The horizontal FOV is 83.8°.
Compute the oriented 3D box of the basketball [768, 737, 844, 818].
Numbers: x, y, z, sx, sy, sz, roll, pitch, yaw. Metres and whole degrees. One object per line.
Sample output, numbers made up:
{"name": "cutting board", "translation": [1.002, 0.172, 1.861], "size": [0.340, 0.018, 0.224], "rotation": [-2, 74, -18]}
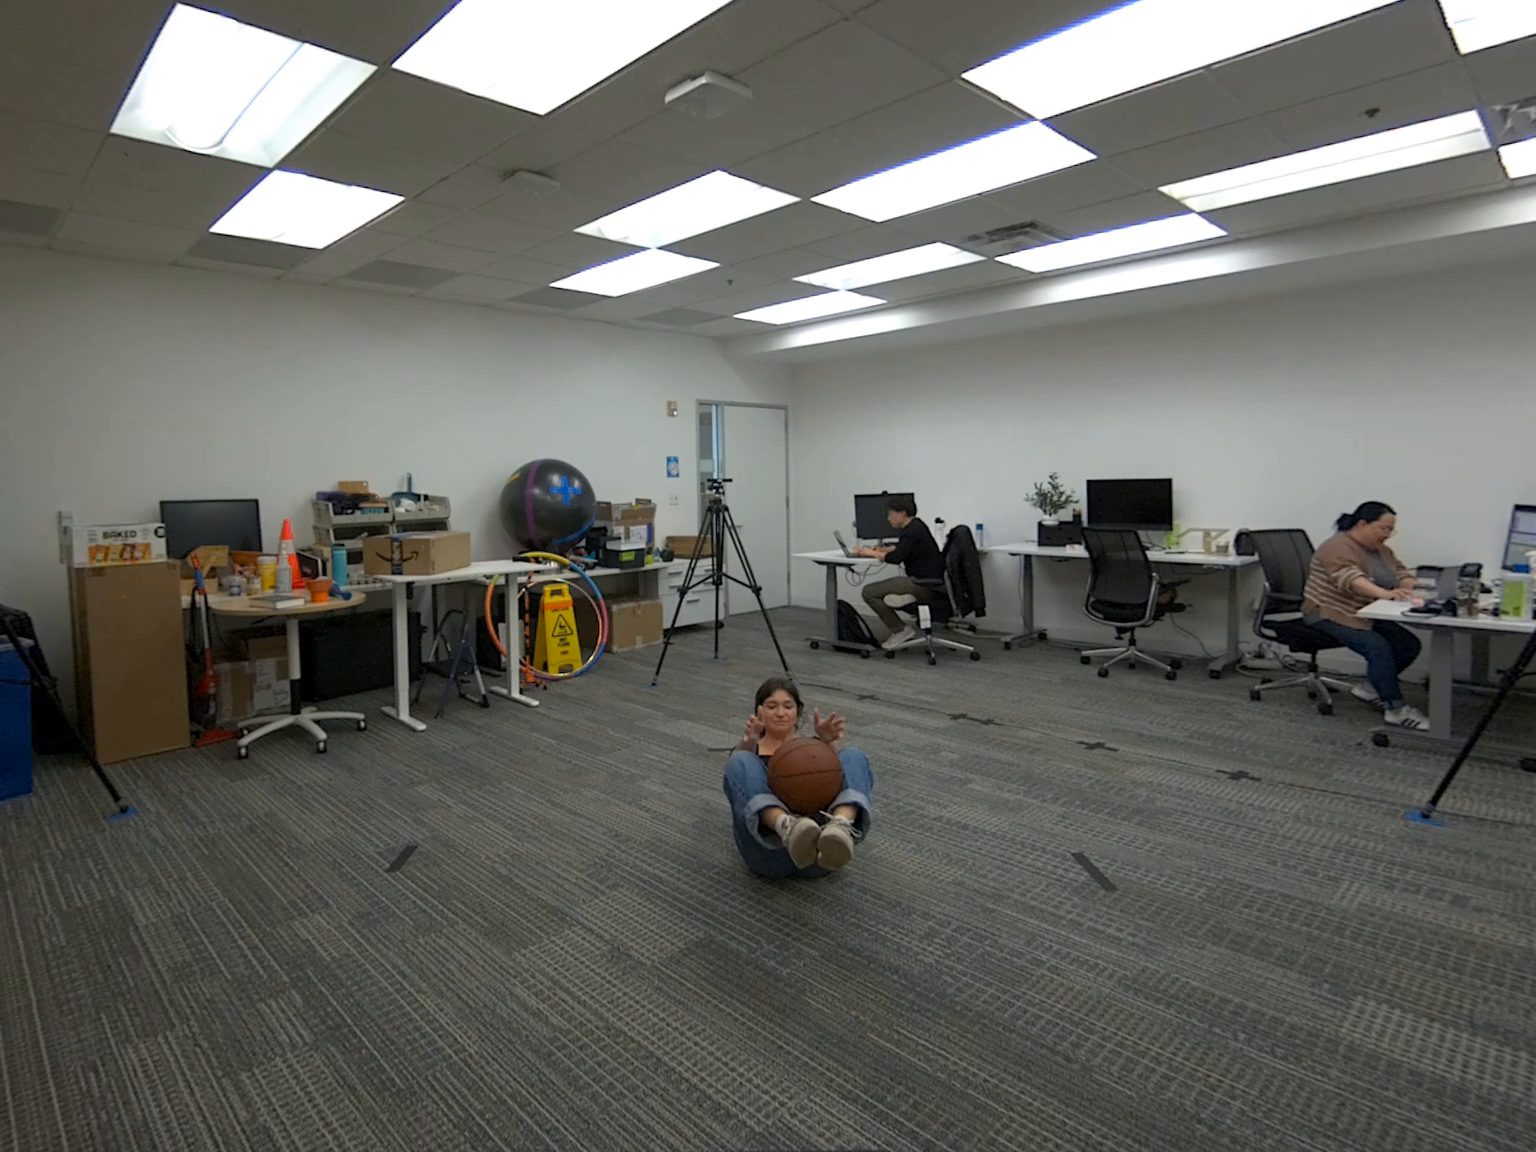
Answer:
{"name": "basketball", "translation": [0.113, 0.623, 2.692], "size": [0.236, 0.235, 0.237], "rotation": [-1, 5, -2]}
